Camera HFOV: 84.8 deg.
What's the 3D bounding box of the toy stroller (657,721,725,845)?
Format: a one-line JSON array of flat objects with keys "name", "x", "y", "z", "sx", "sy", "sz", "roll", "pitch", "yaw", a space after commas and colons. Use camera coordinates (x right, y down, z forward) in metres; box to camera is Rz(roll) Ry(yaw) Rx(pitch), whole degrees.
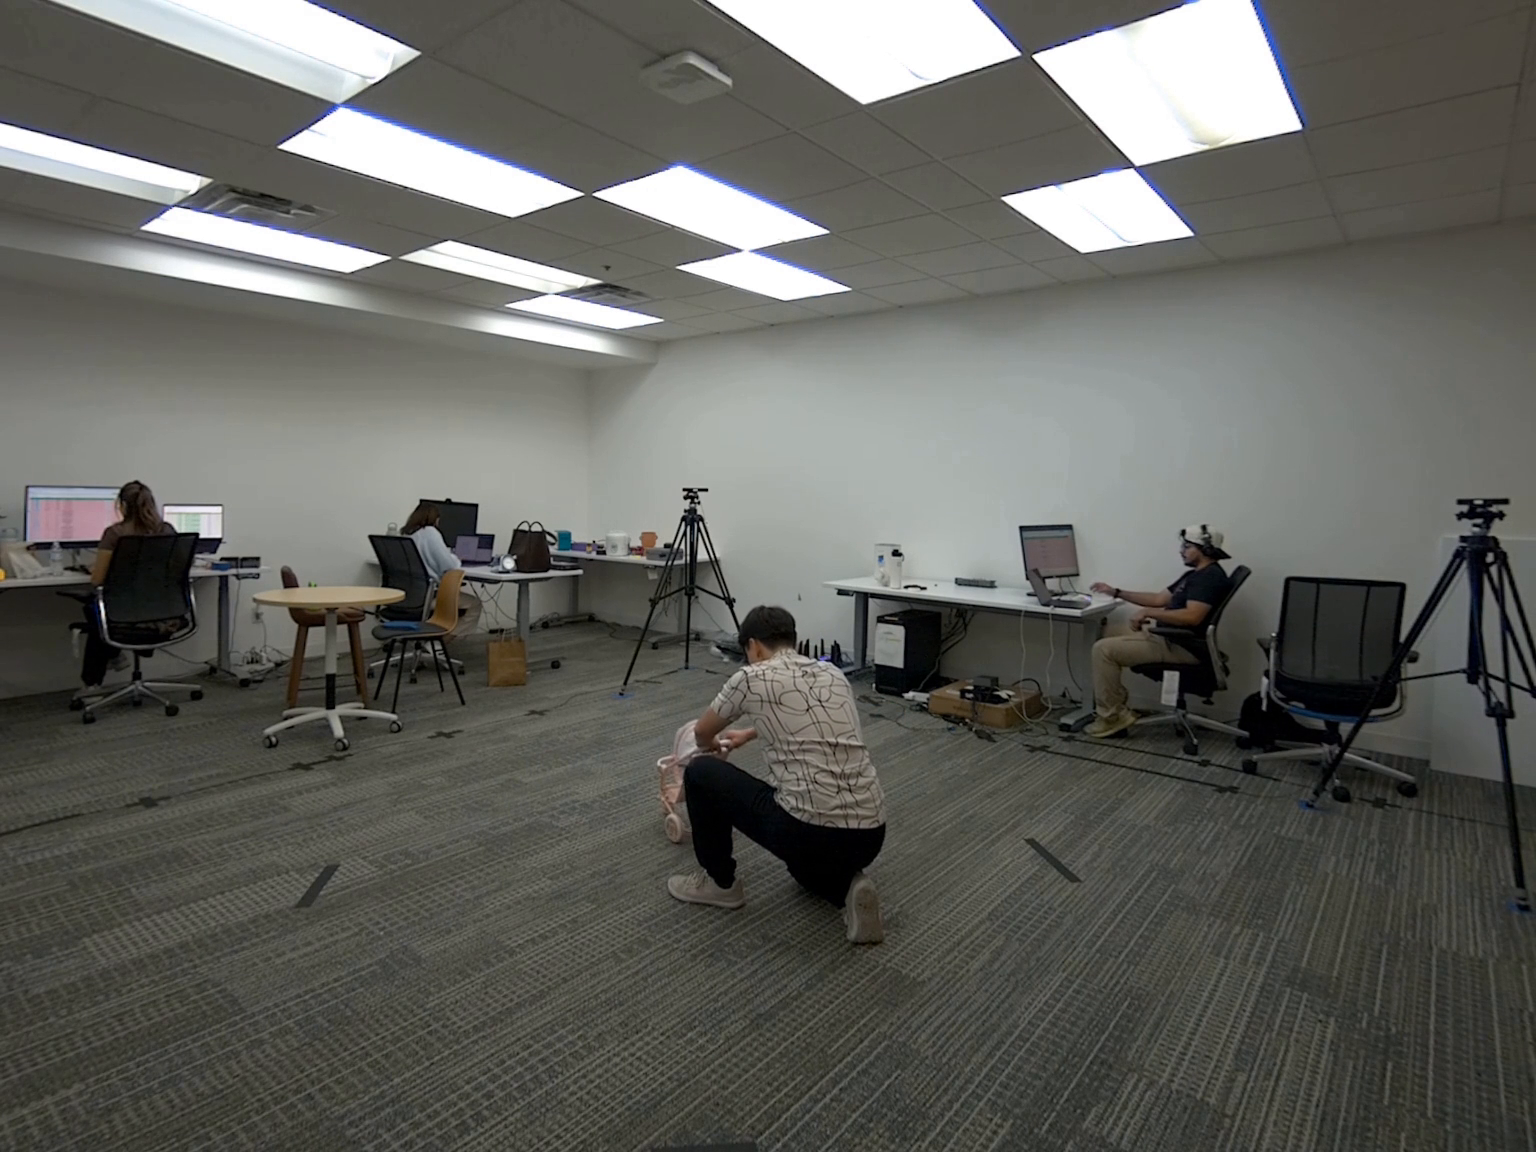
[{"name": "toy stroller", "x": -0.314, "y": 0.807, "z": 3.456, "sx": 0.274, "sy": 0.528, "sz": 0.355, "roll": -1, "pitch": 21, "yaw": -33}]
